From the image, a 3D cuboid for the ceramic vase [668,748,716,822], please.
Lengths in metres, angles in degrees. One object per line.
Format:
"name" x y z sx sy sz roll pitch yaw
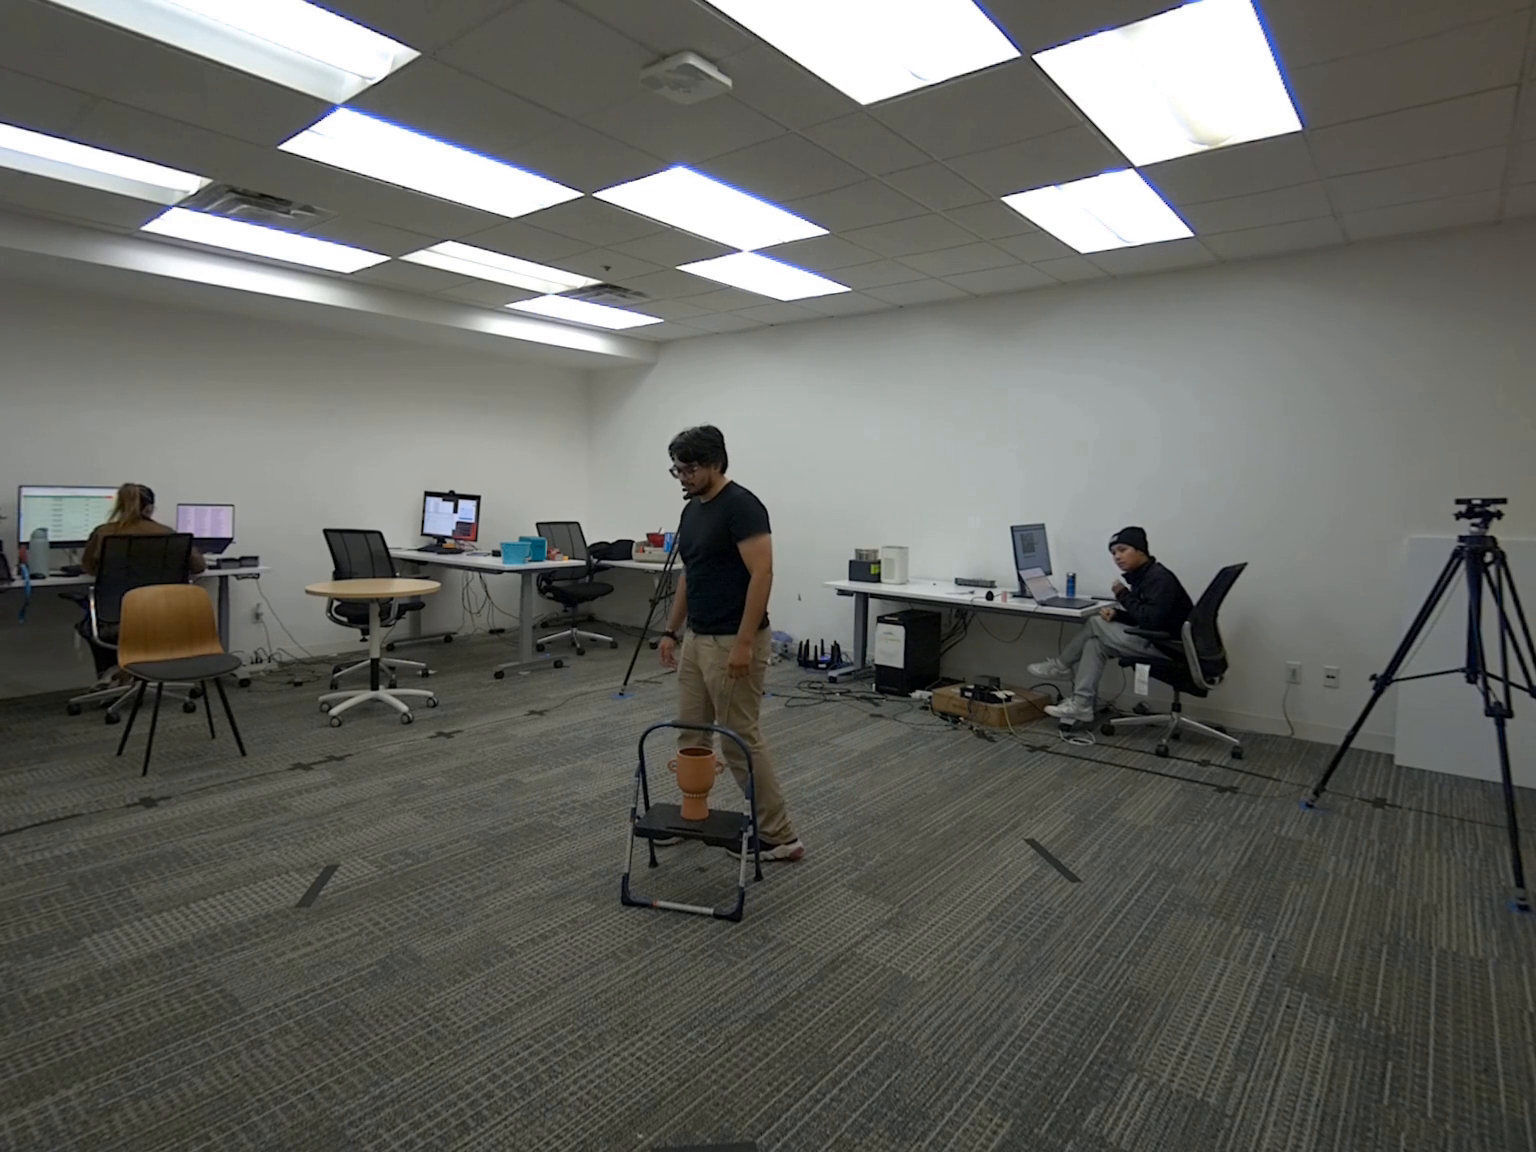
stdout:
"ceramic vase" -0.257 0.716 2.940 0.164 0.219 0.130 3 2 38
